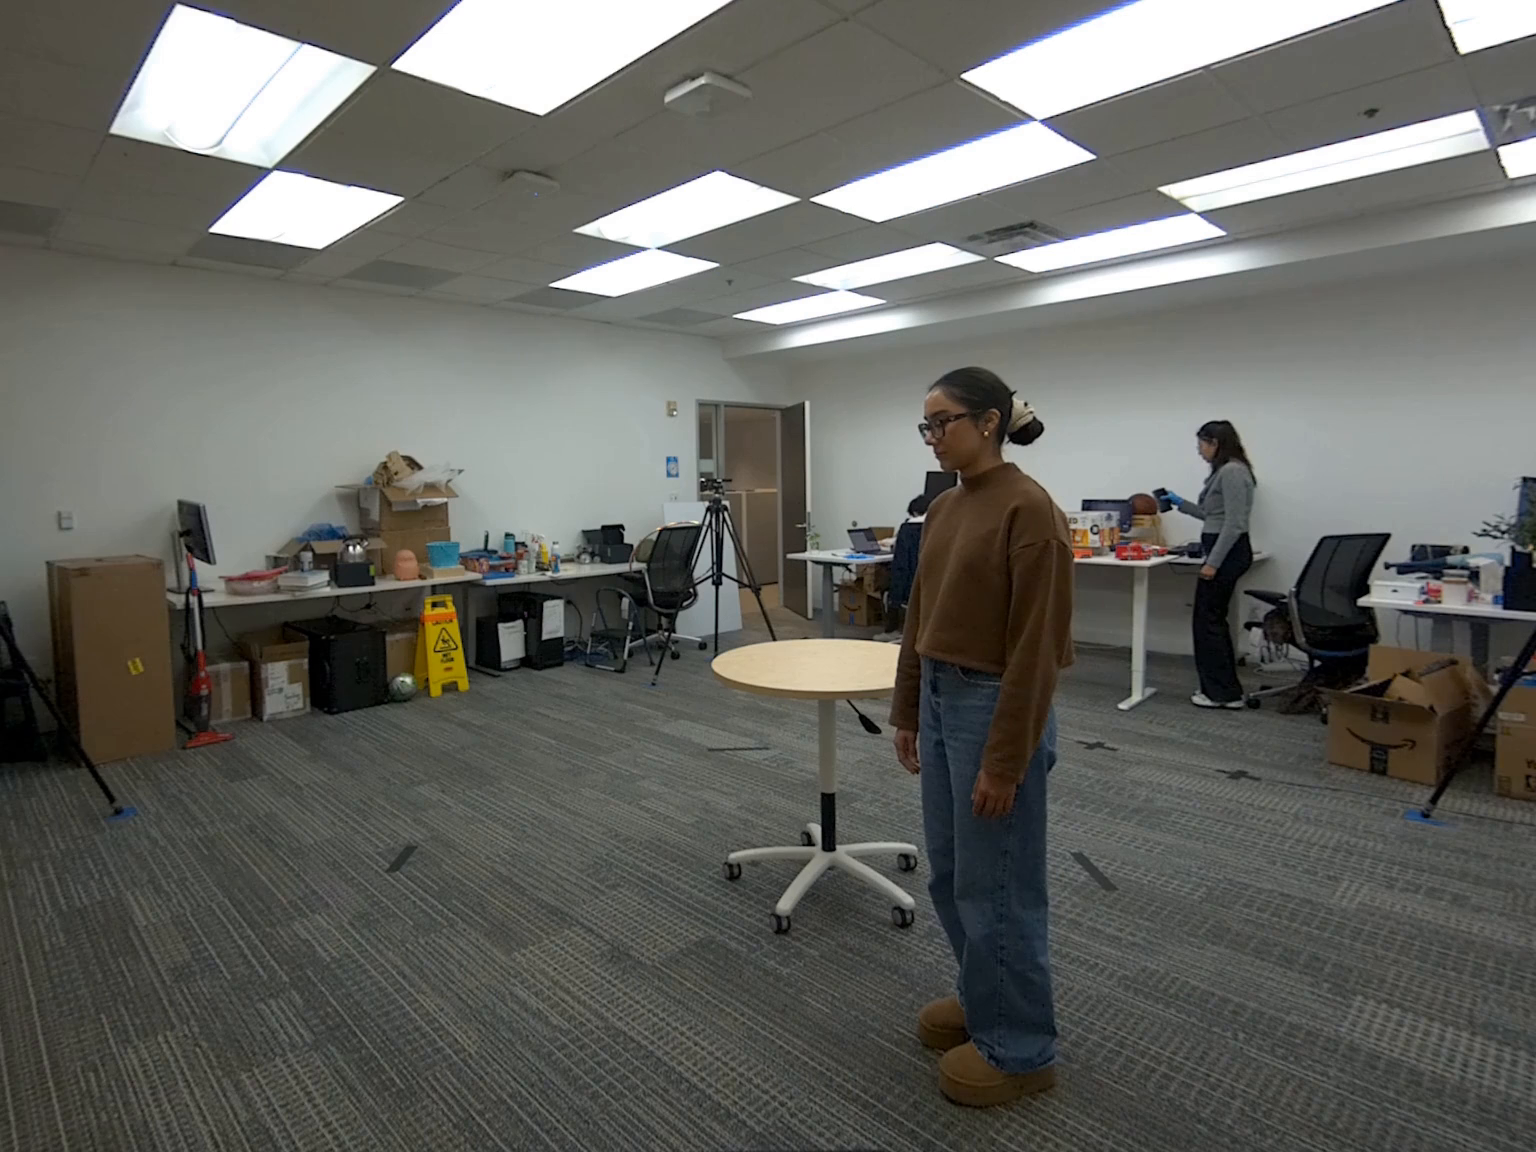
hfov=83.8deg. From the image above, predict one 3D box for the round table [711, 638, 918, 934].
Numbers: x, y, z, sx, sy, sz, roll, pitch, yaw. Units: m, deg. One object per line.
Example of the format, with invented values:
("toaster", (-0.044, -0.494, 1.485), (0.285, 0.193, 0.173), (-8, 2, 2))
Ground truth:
("round table", (0.209, 0.681, 2.875), (0.763, 0.790, 0.768), (-1, 5, -2))
